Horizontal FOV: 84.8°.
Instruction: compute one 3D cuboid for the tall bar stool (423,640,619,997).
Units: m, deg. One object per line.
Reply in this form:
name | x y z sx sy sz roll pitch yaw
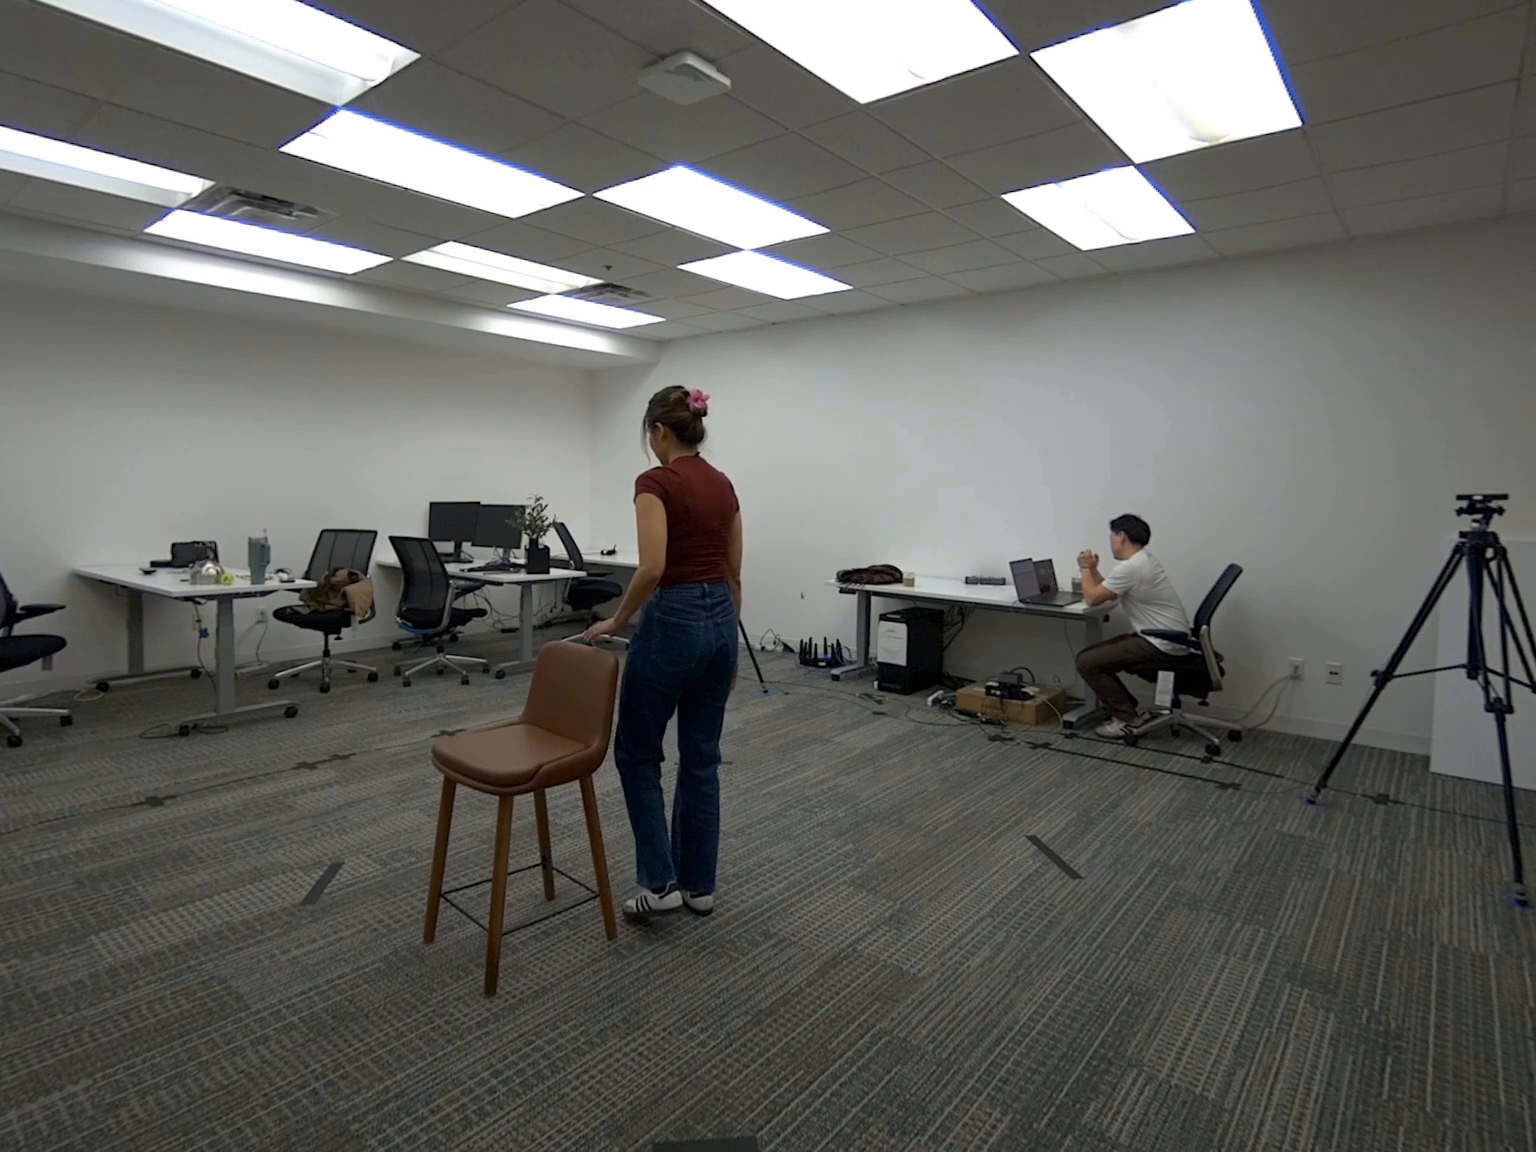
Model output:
tall bar stool | -0.750 0.676 2.577 0.472 0.888 0.453 4 3 44
